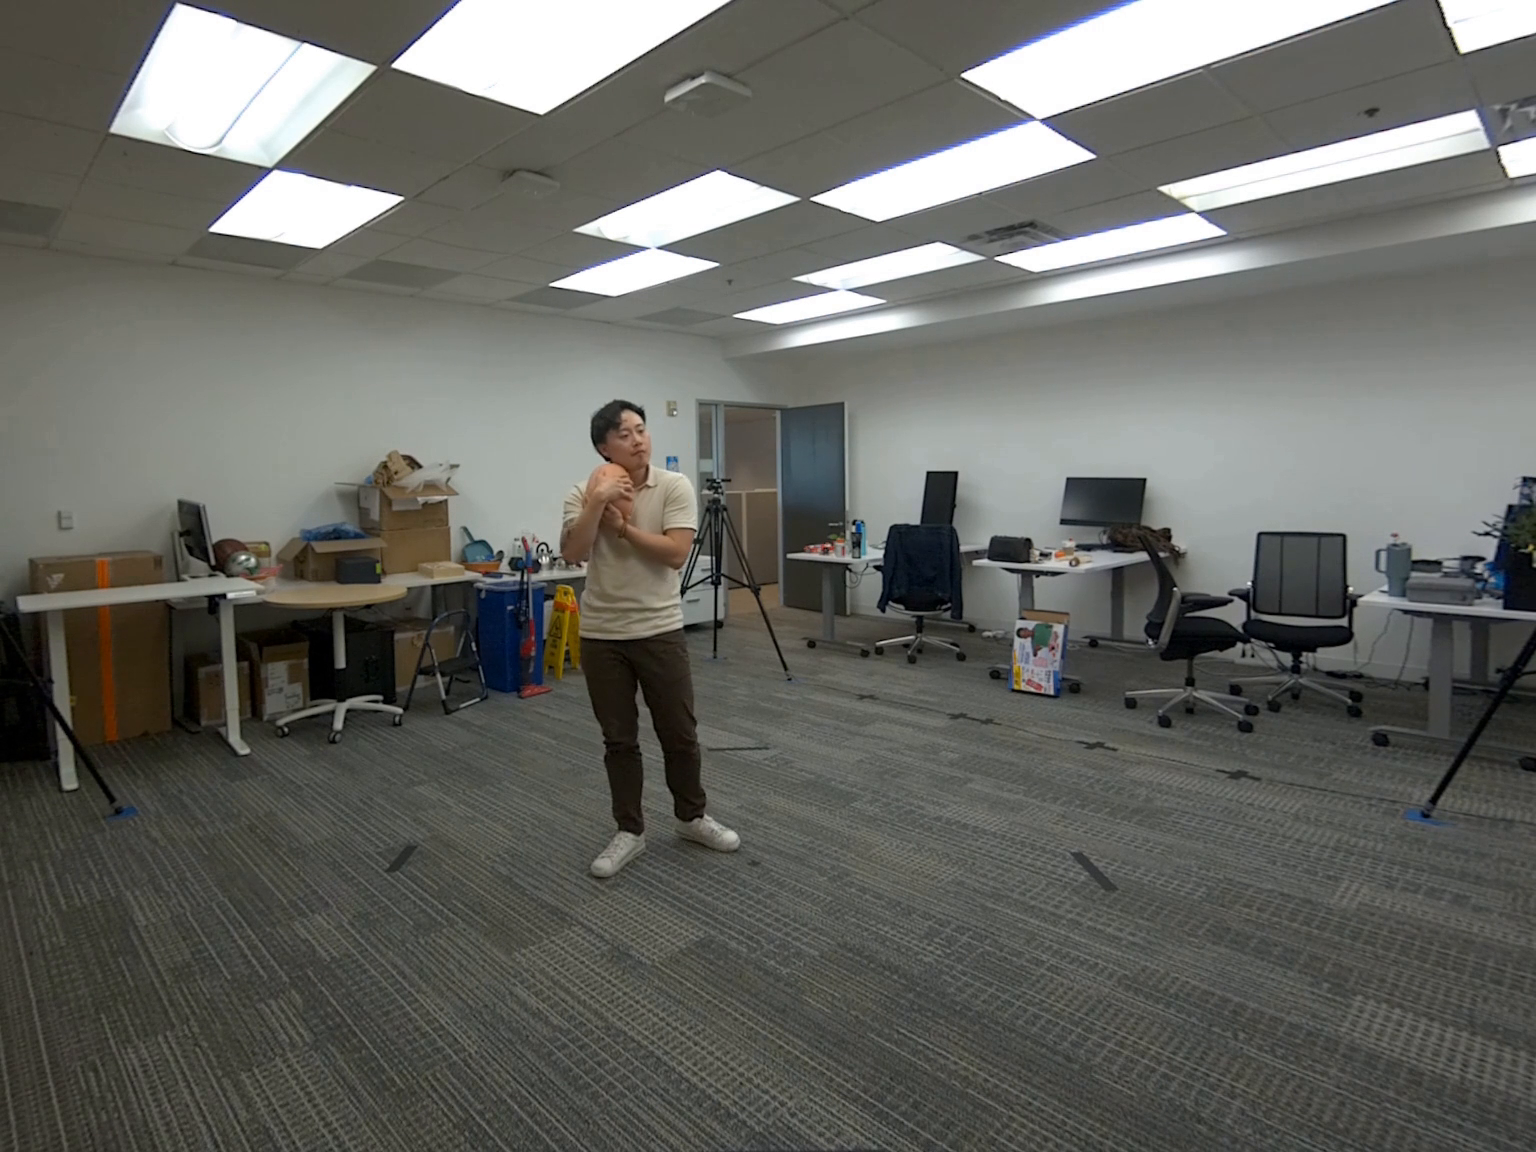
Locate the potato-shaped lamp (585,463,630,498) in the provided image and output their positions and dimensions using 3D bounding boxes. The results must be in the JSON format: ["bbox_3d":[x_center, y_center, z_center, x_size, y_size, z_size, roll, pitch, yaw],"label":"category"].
[{"bbox_3d":[-0.540,-0.283,2.987,0.166,0.204,0.165,-20,-42,15],"label":"potato-shaped lamp"}]
